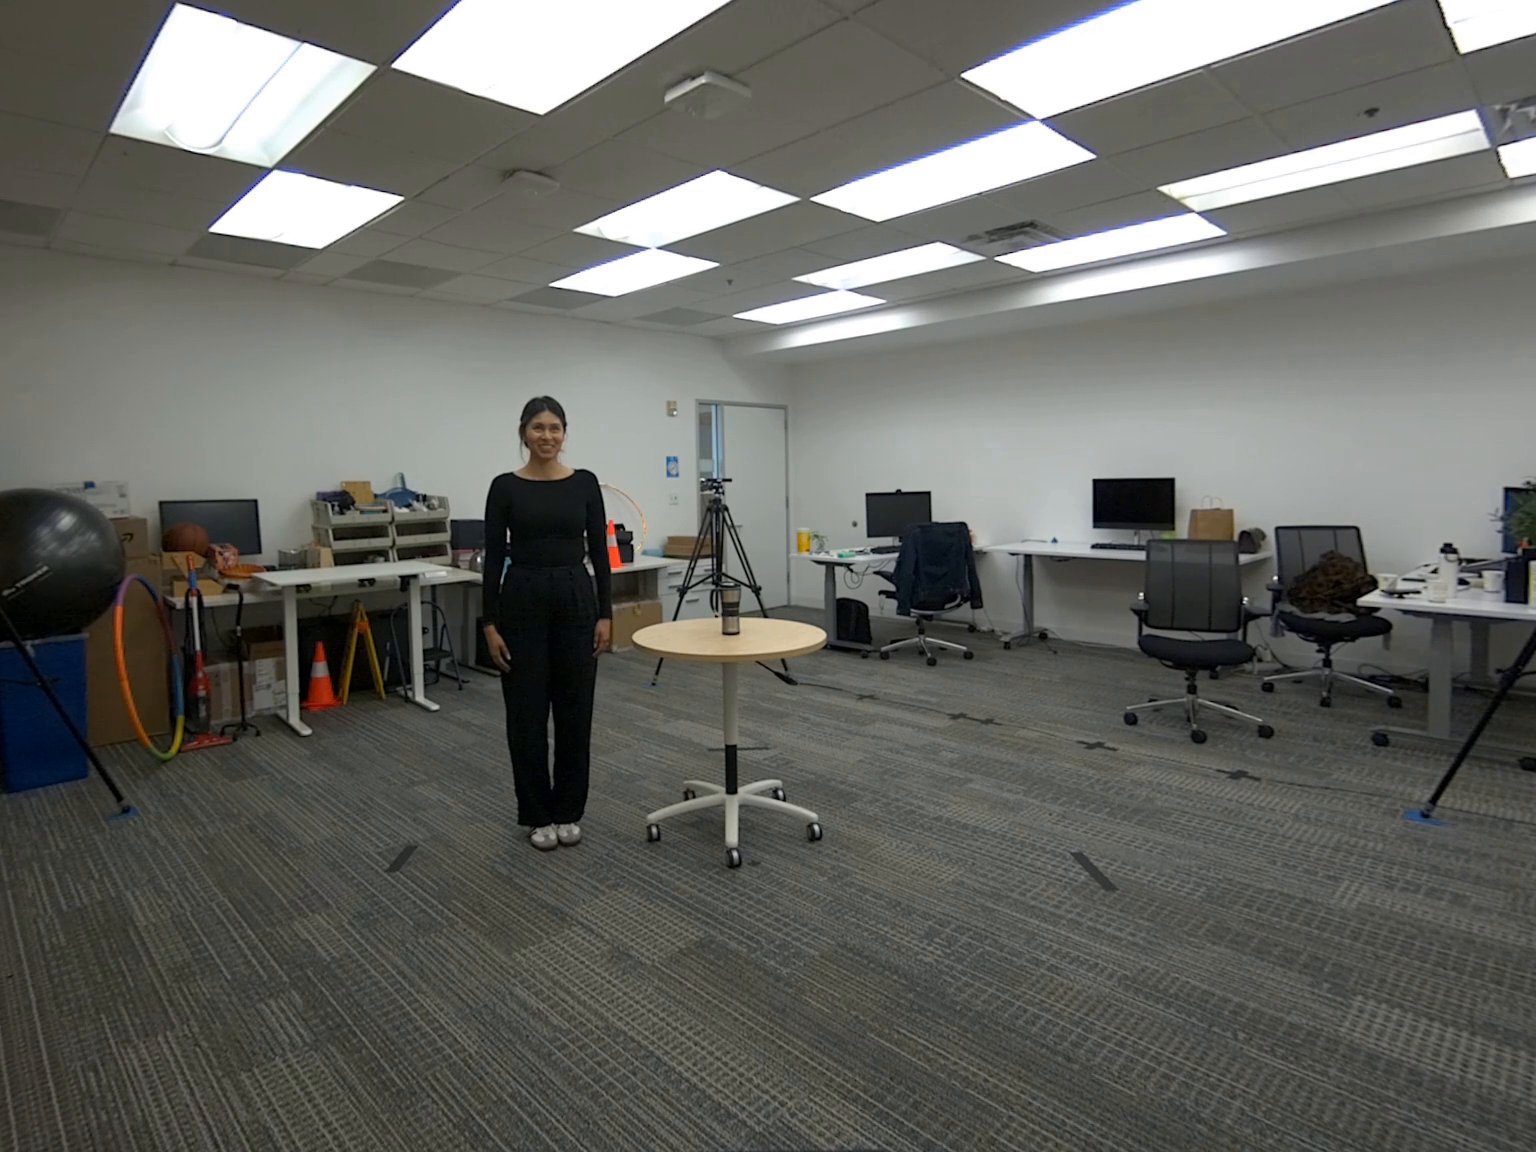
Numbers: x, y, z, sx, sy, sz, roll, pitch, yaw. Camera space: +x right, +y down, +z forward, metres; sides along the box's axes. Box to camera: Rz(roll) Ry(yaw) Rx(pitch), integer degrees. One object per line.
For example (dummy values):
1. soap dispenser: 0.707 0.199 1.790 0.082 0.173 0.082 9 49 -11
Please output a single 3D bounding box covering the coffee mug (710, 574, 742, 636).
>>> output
1. coffee mug: -0.165 0.130 3.386 0.126 0.201 0.086 9 15 41
